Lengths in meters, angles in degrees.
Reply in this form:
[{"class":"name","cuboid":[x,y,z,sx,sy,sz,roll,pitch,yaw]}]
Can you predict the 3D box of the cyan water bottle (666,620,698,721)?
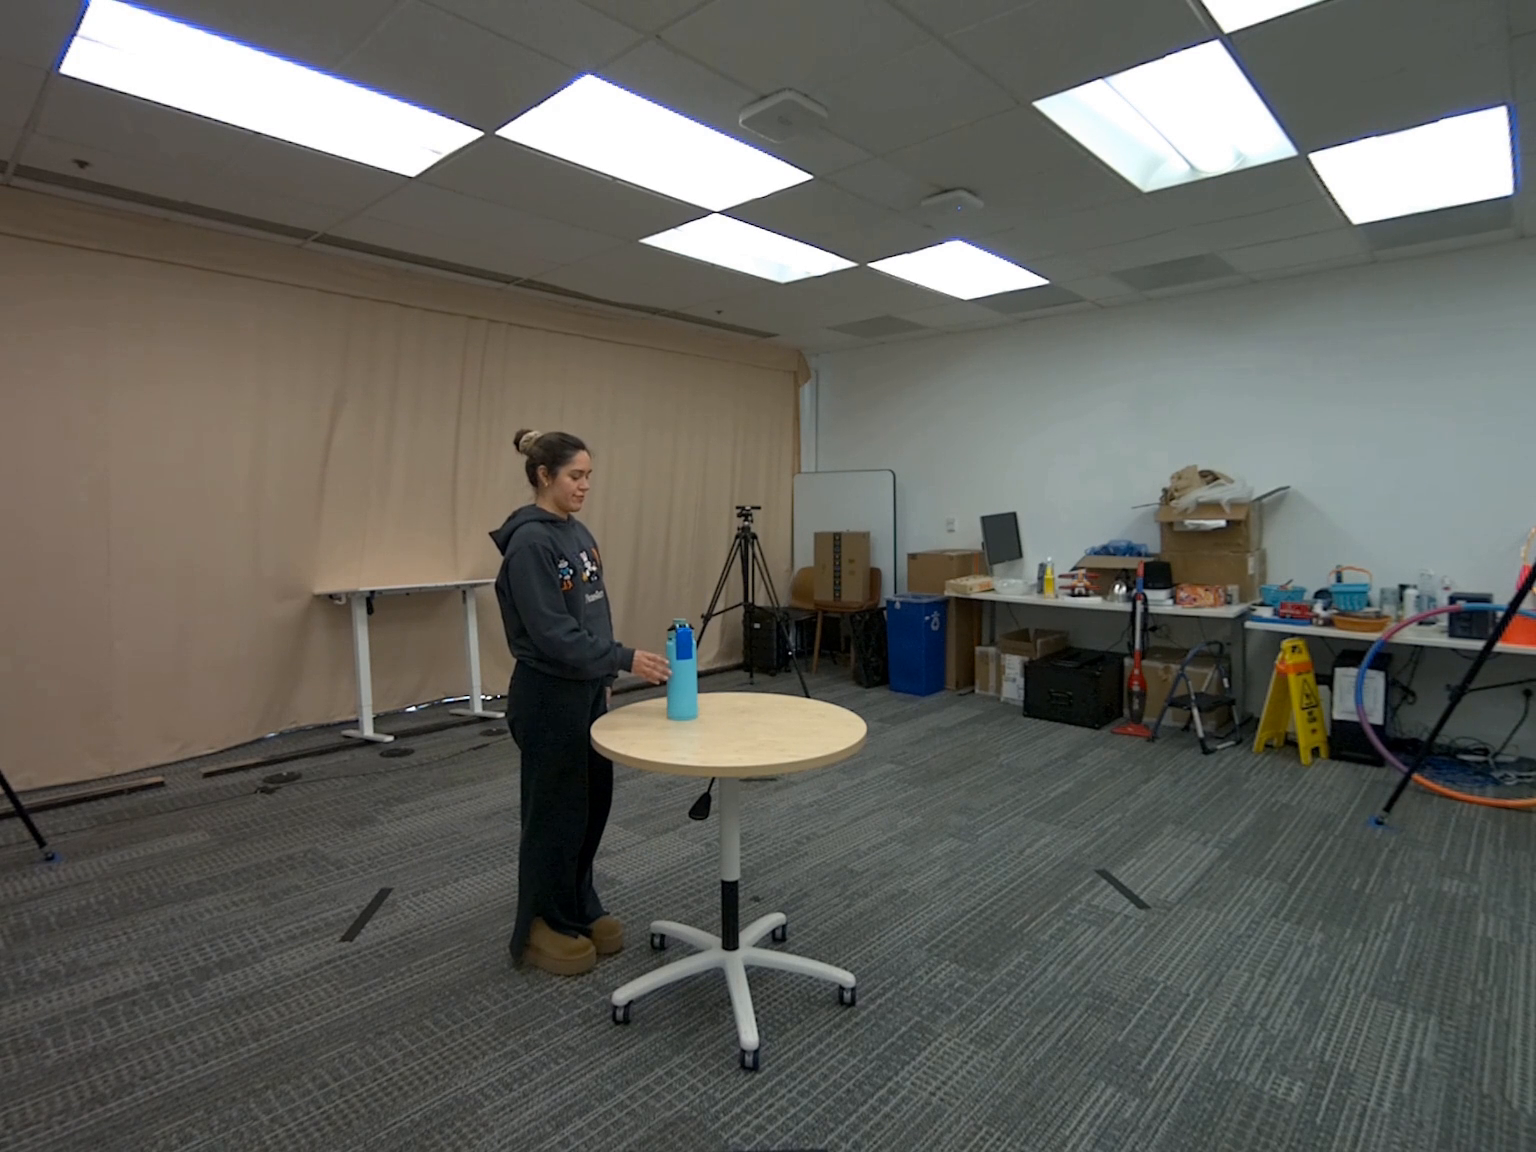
[{"class":"cyan water bottle","cuboid":[-0.243,0.272,2.419,0.092,0.283,0.092,0,3,-2]}]
